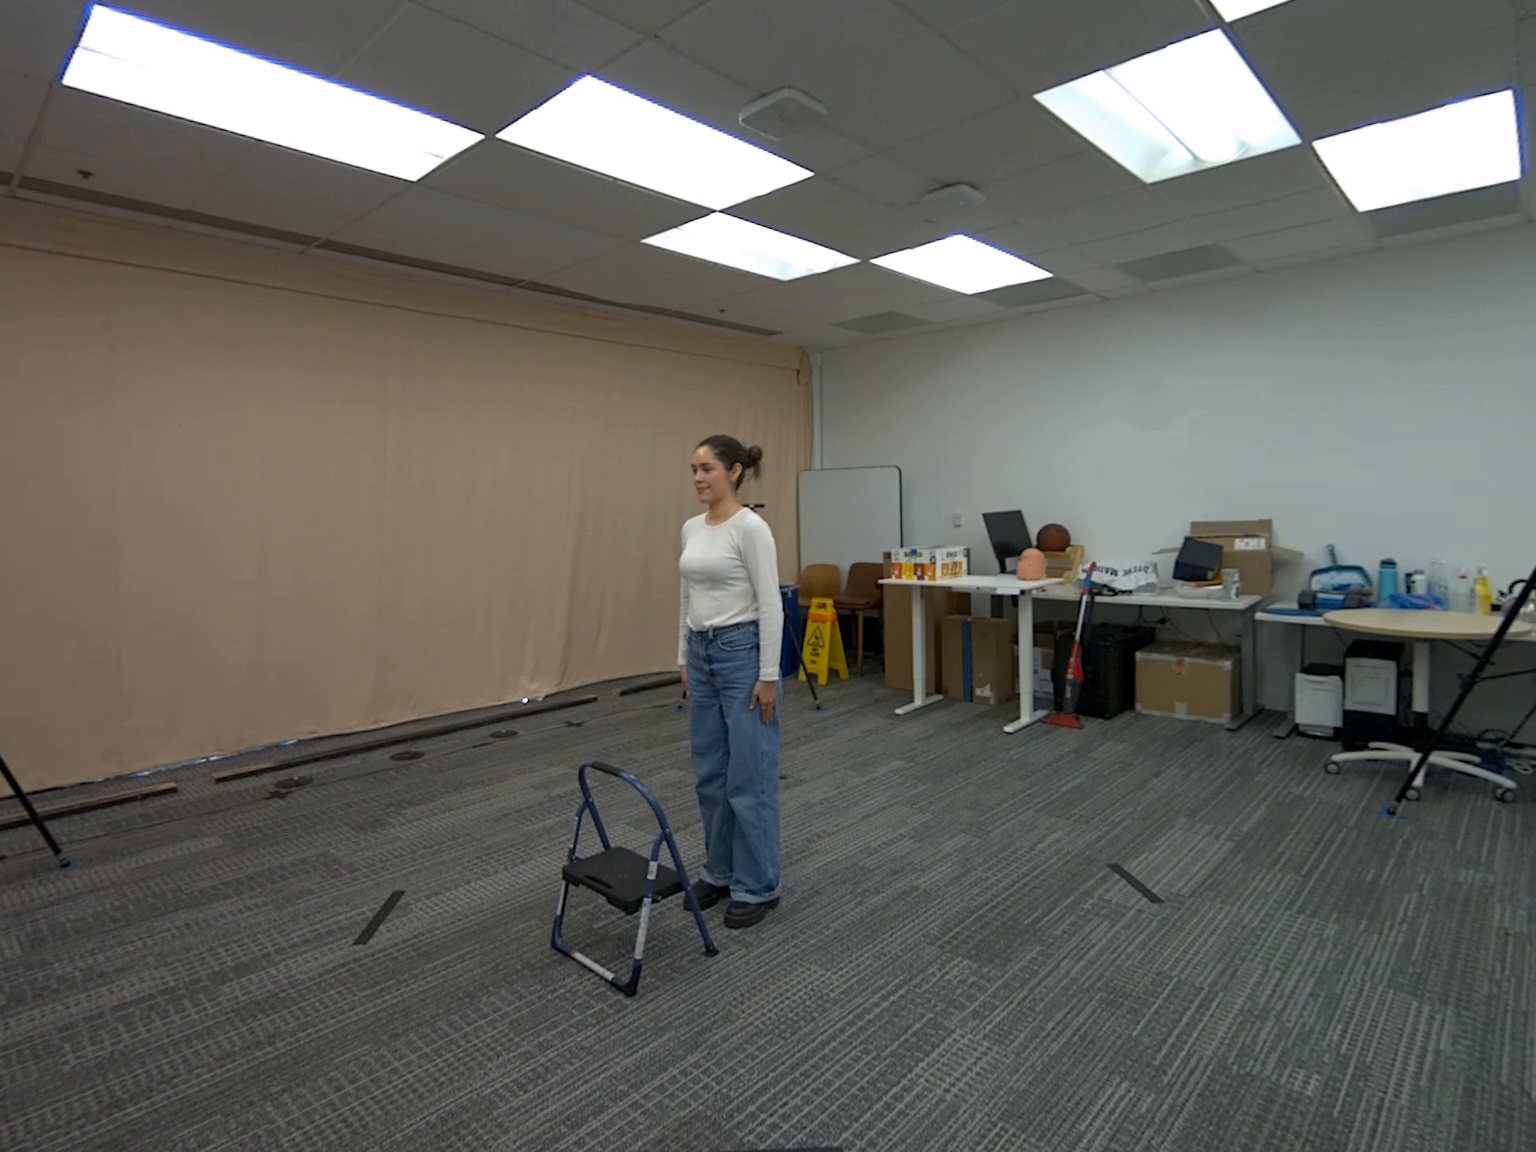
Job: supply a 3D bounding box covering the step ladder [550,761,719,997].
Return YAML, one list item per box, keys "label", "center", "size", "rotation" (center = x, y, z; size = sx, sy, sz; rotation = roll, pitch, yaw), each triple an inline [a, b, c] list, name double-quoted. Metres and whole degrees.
- label: "step ladder"
  center: [-0.429, 0.877, 2.636]
  size: [0.445, 0.605, 0.339]
  rotation: [2, 4, 43]
